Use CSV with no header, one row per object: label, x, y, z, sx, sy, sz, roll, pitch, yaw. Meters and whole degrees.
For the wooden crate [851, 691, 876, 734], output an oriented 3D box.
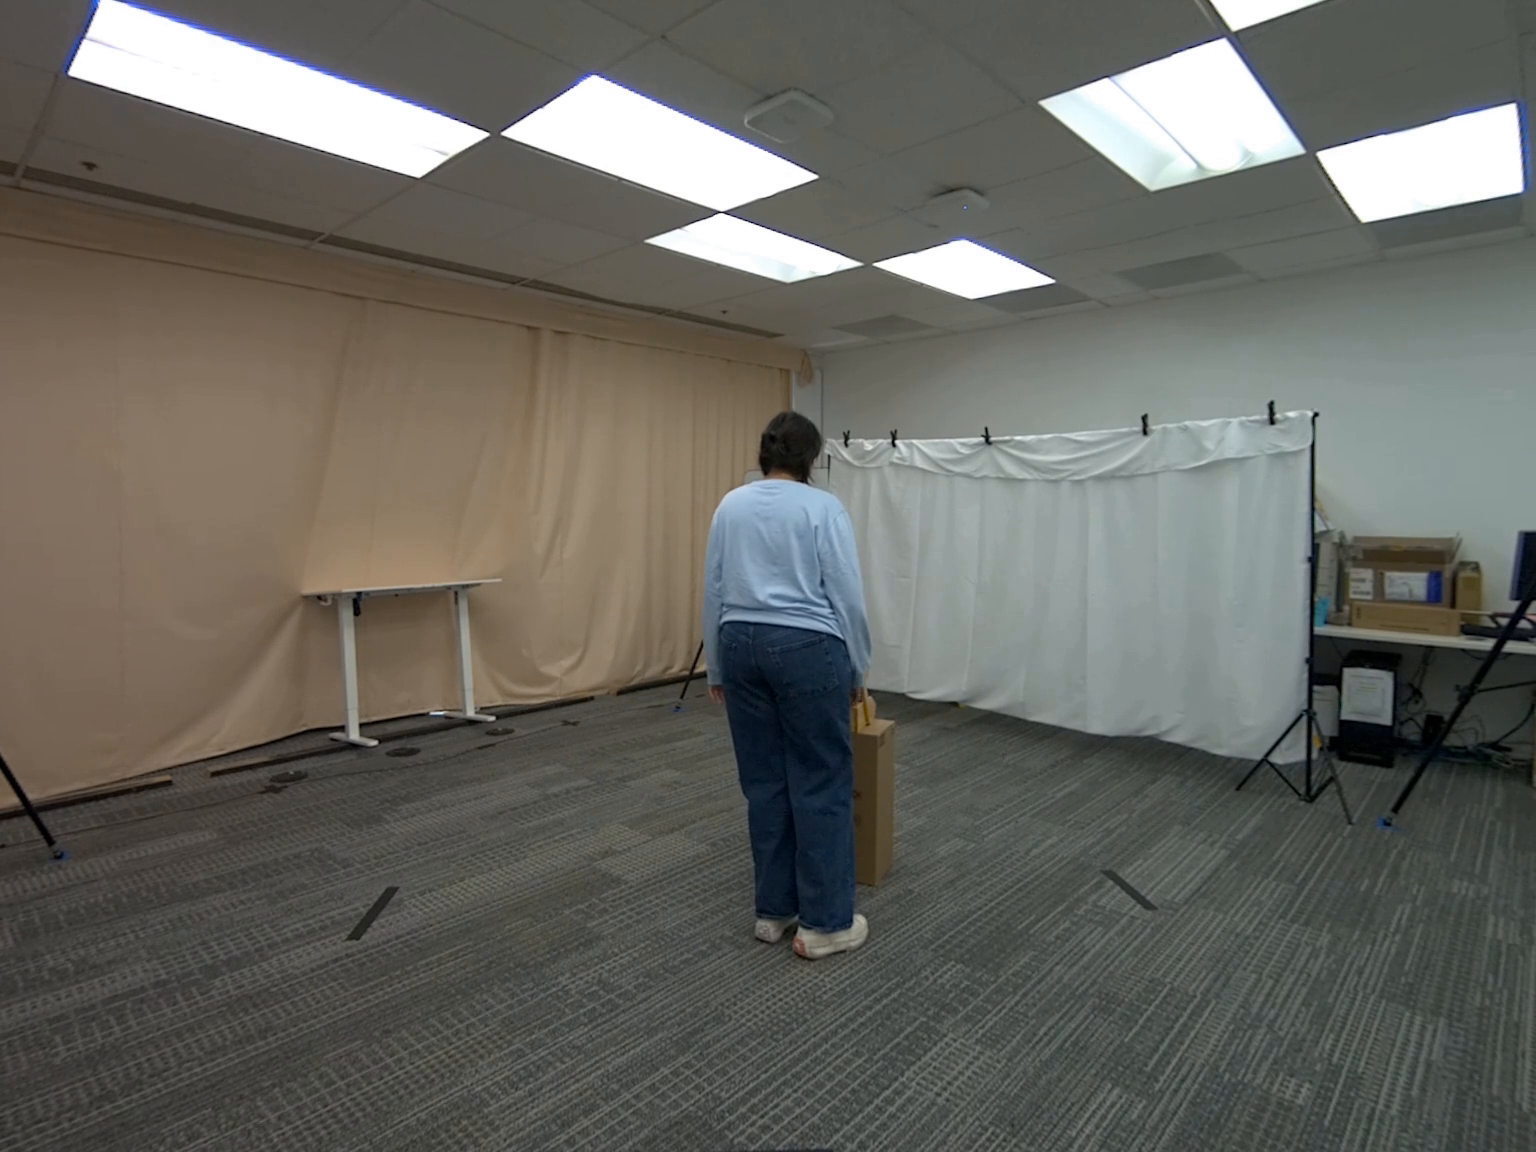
wooden crate,0.230,0.422,3.213,0.333,0.272,0.295,2,6,25
